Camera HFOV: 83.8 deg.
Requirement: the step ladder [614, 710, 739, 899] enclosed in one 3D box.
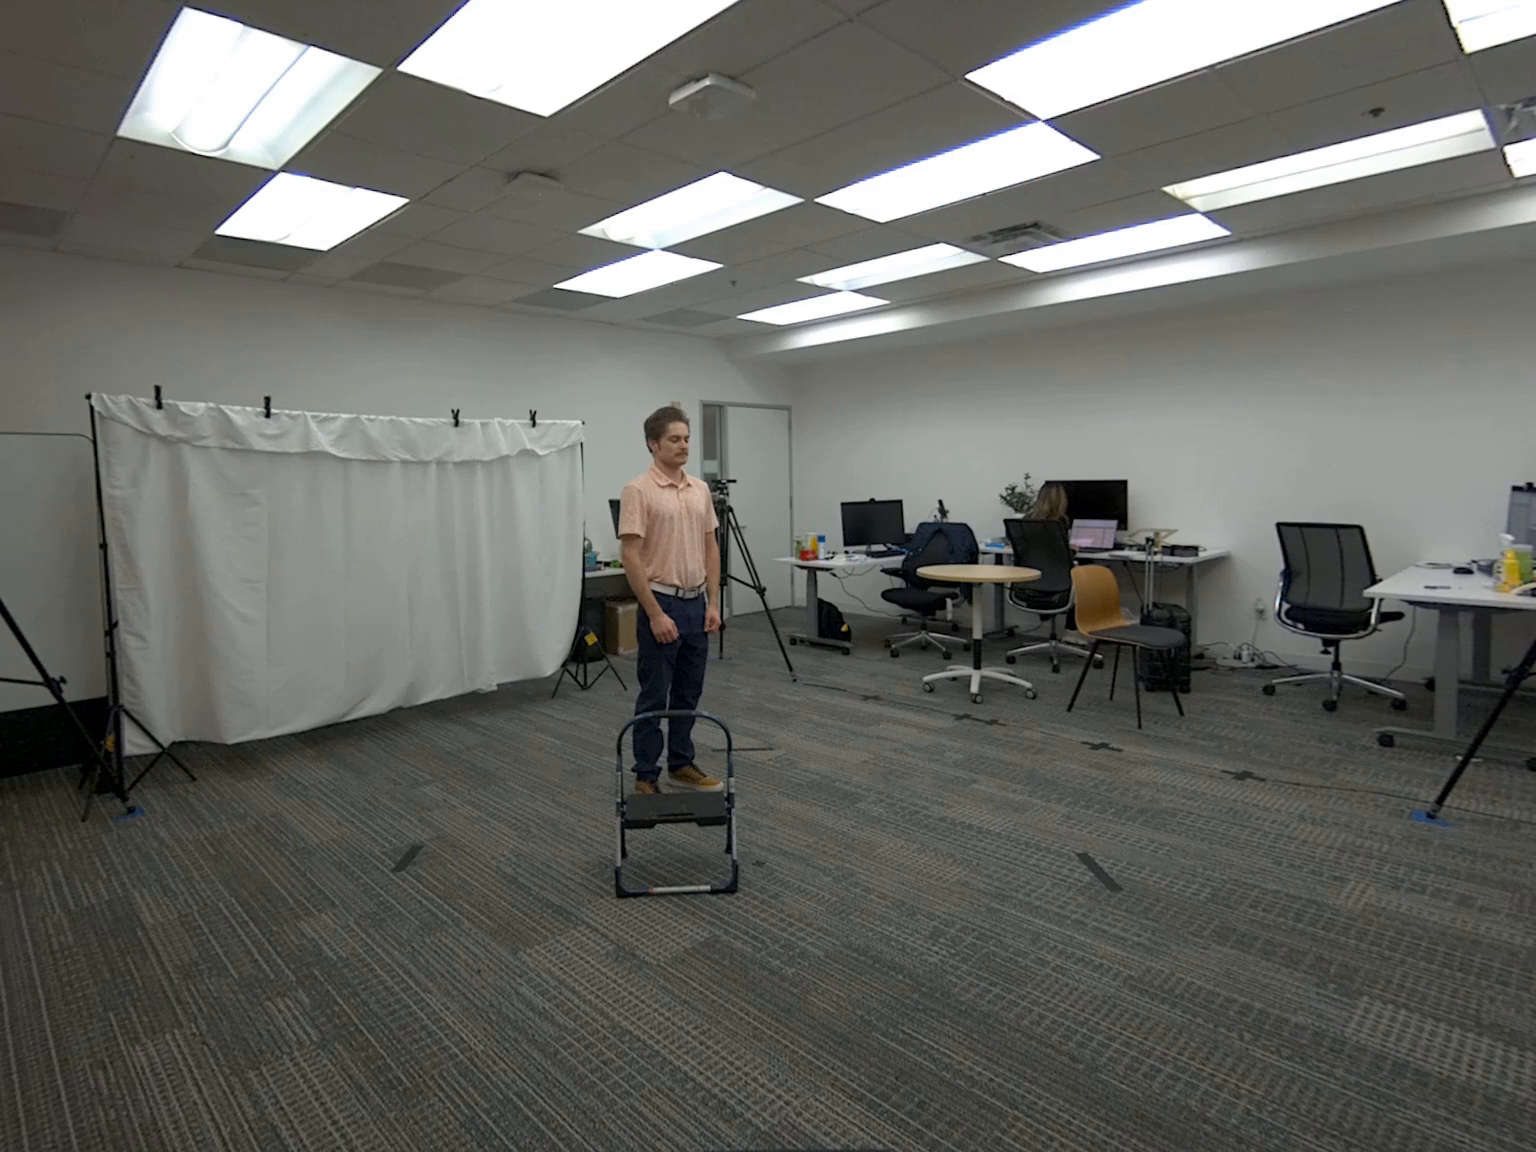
[{"bbox_3d":[-0.329,0.765,3.029,0.428,0.604,0.352,-2,4,-5],"label":"step ladder"}]
